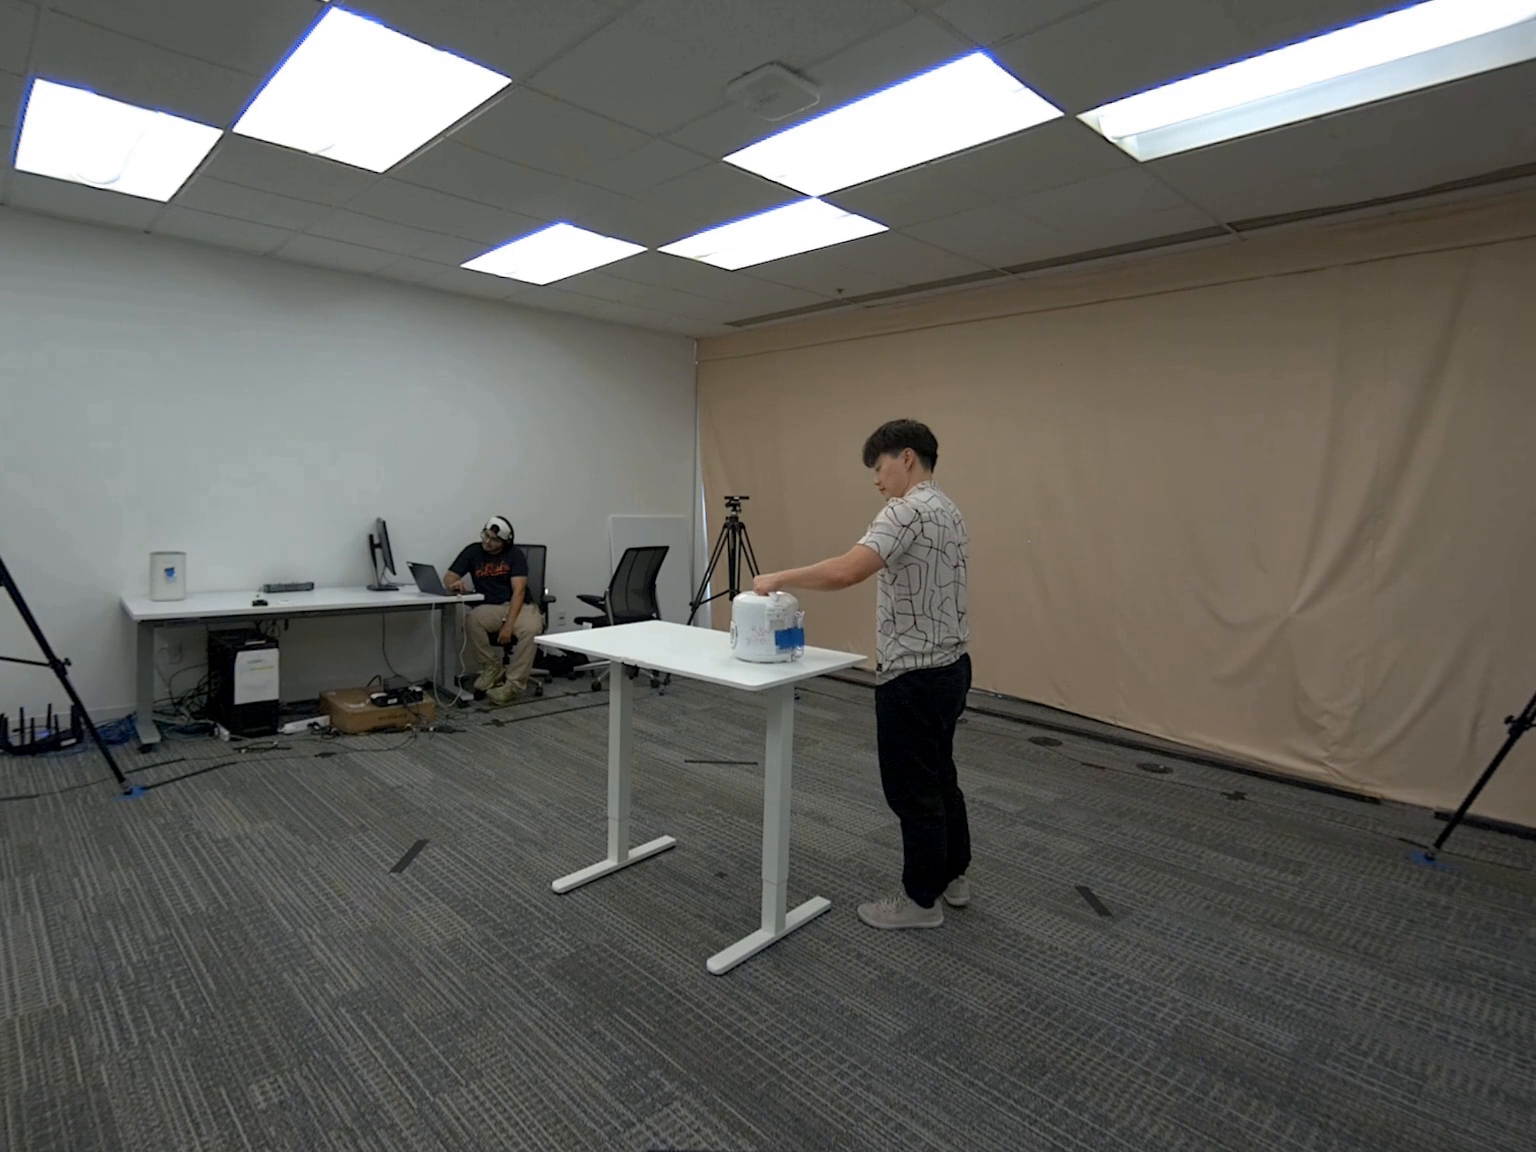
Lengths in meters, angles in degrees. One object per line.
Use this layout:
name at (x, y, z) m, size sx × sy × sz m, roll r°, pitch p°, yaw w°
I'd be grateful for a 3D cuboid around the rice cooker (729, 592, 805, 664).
rice cooker at (-0.014, 0.148, 2.676) m, size 0.214 × 0.232 × 0.224 m, roll 1°, pitch 4°, yaw -19°
